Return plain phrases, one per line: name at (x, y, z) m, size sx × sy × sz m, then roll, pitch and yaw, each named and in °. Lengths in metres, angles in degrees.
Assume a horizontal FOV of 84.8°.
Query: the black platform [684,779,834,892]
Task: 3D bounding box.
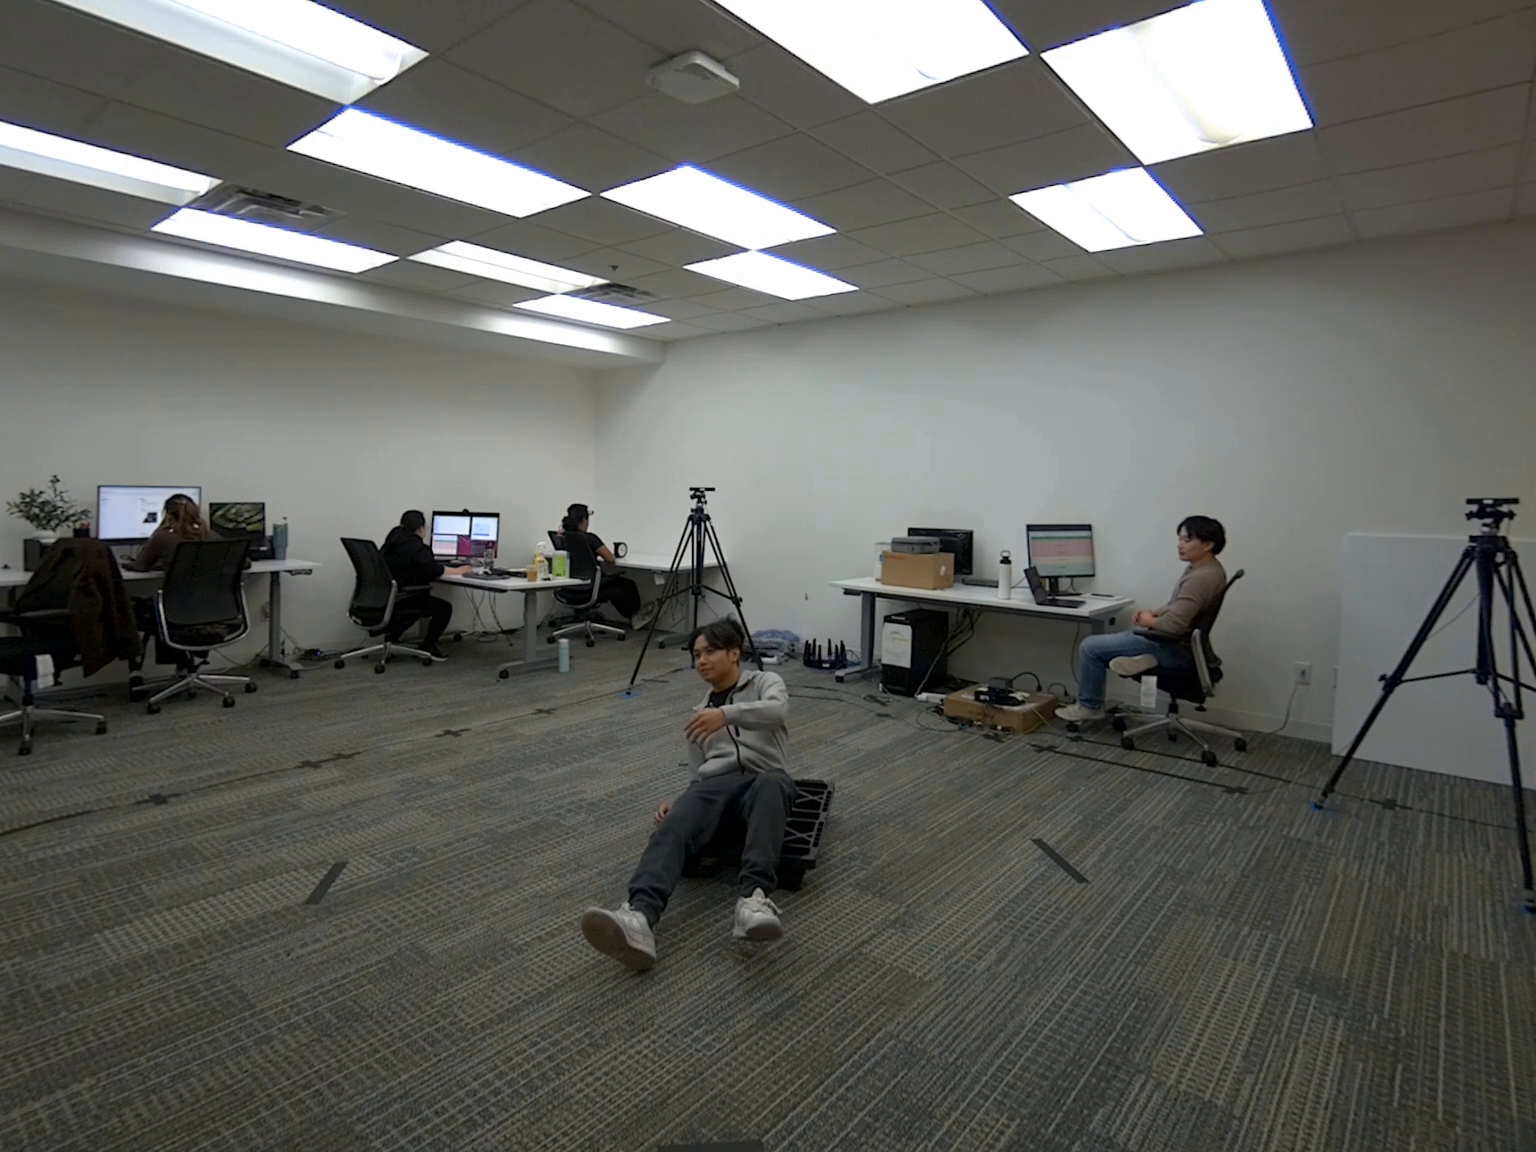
black platform at (-0.081, 0.971, 3.343) m, size 0.613 × 0.143 × 0.798 m, roll 1°, pitch 5°, yaw 11°
